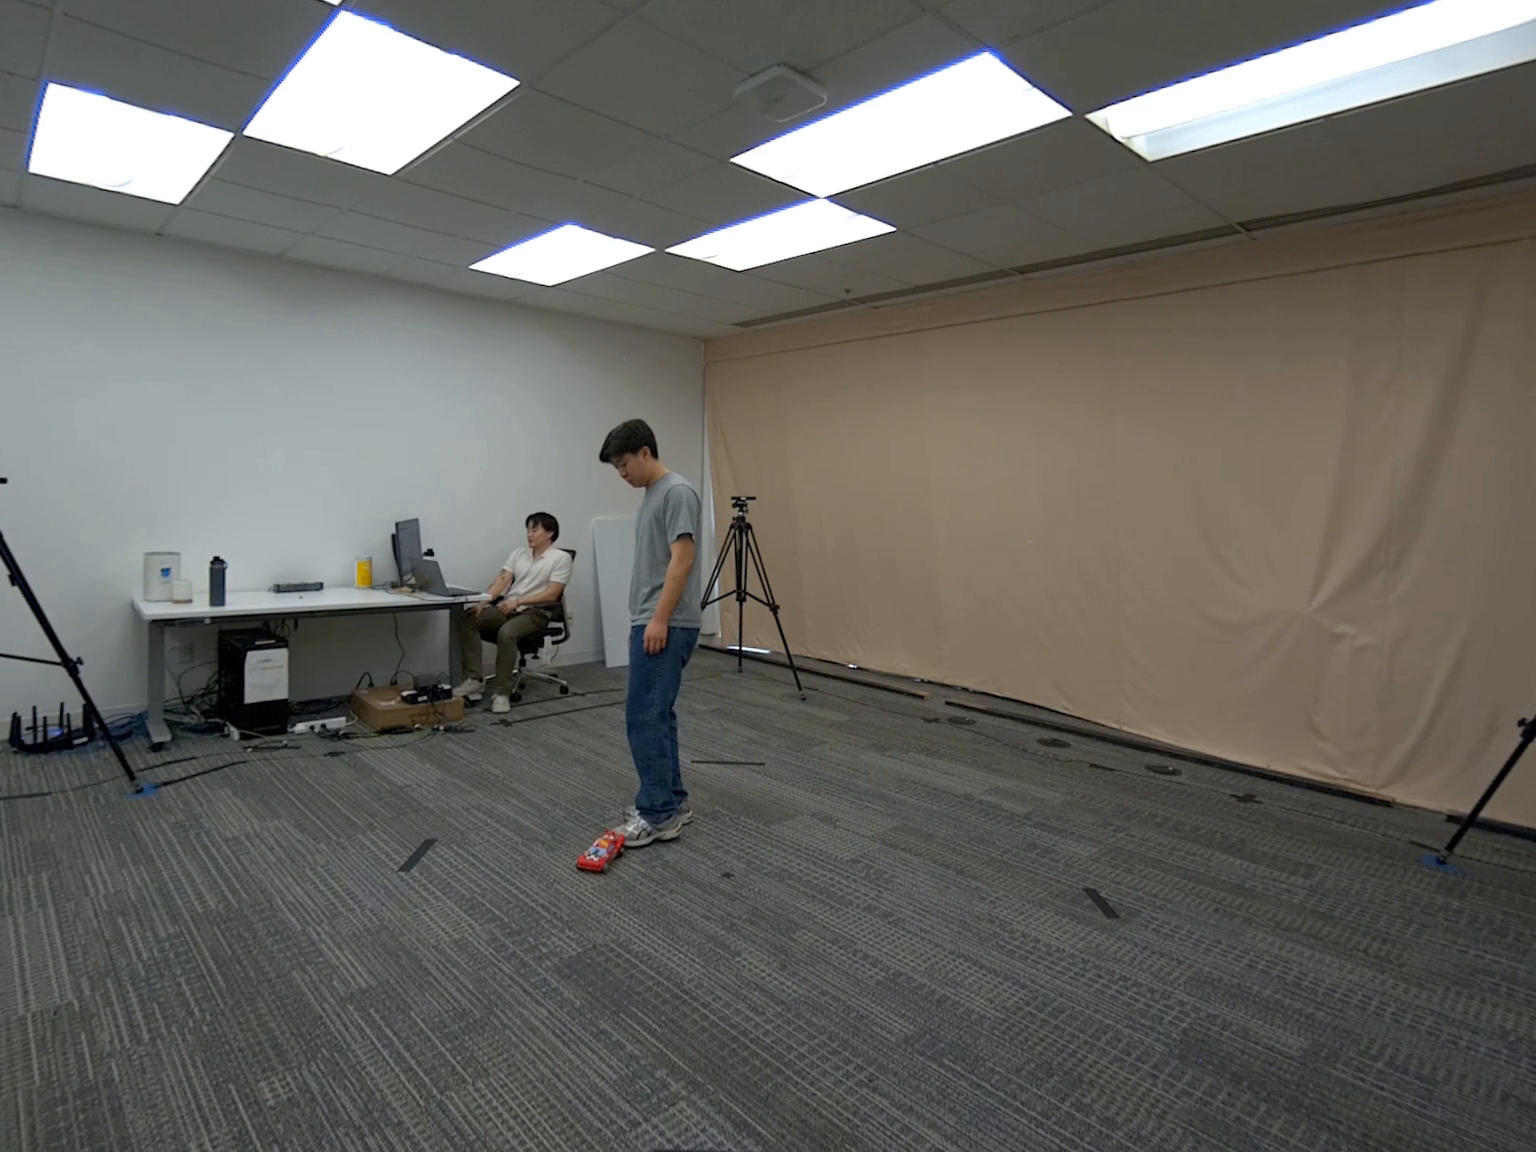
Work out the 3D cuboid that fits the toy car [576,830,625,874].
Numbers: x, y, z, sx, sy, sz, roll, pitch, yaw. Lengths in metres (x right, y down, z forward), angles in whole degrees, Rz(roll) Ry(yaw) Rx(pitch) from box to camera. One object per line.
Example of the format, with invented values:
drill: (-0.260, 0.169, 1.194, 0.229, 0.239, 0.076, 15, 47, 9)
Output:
toy car: (-0.640, 1.053, 3.197, 0.132, 0.082, 0.254, 2, 17, 14)
